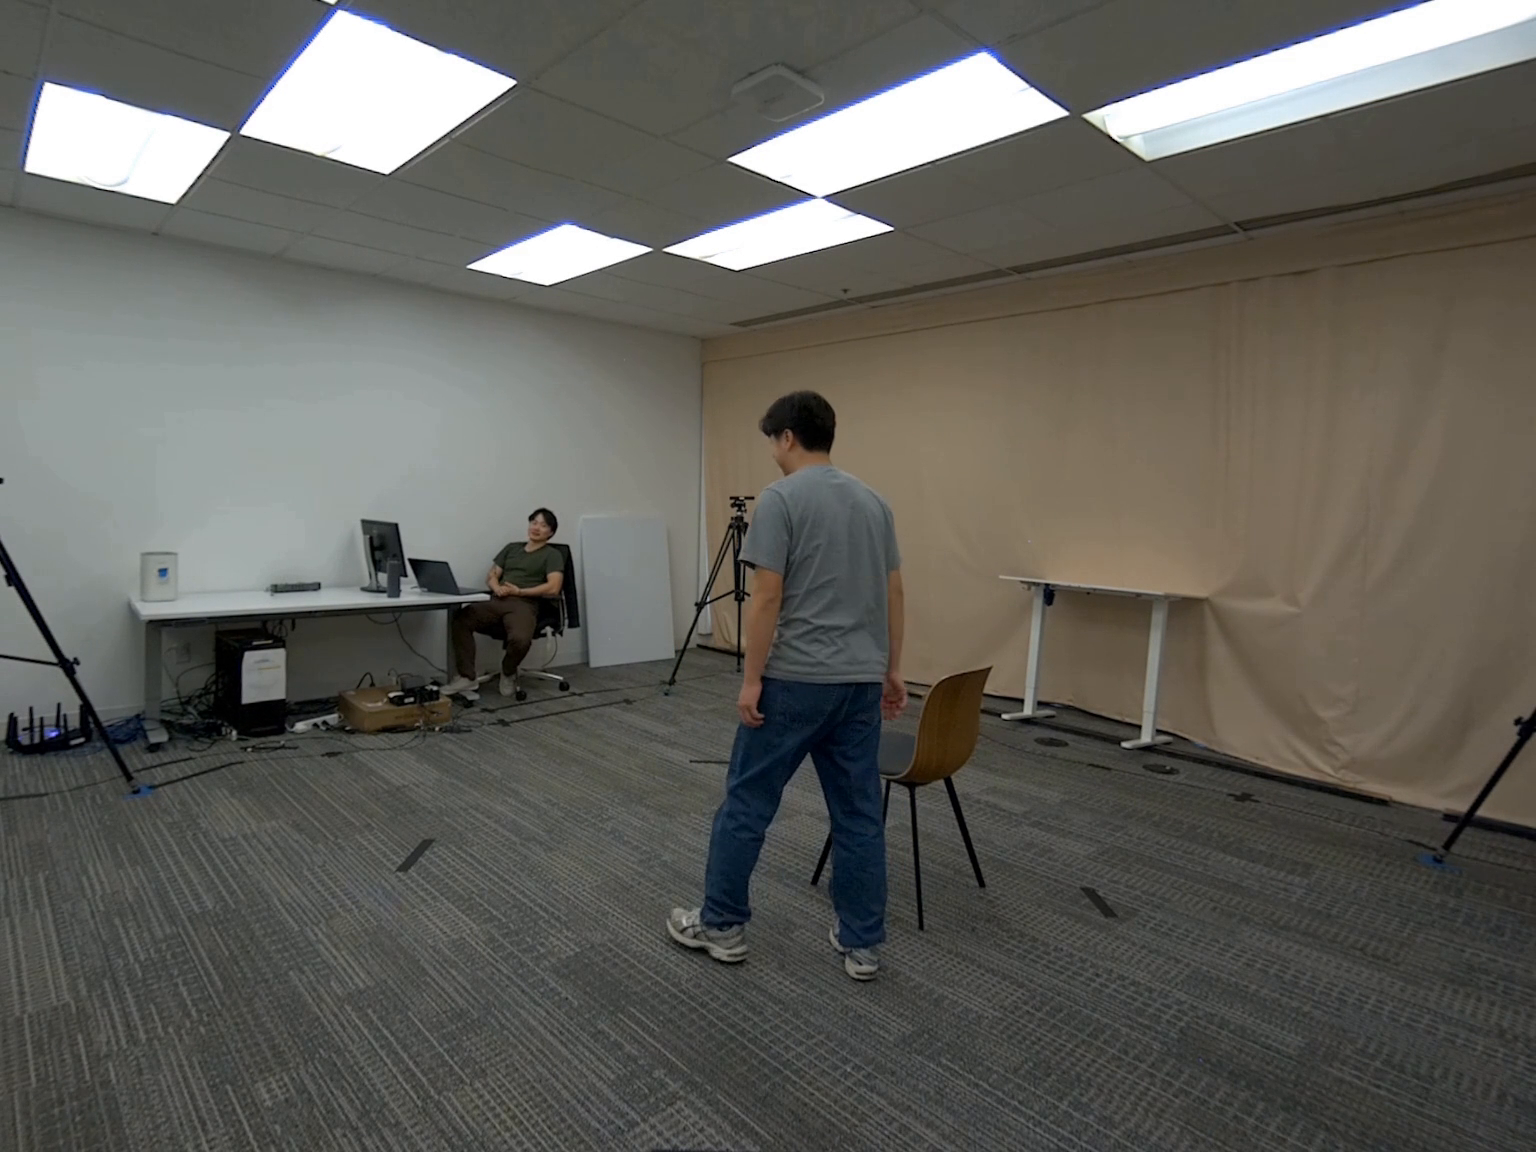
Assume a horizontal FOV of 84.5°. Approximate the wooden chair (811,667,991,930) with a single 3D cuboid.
[{"bbox_3d":[0.474,0.699,3.023,0.537,0.873,0.467,11,8,41],"label":"wooden chair"}]
